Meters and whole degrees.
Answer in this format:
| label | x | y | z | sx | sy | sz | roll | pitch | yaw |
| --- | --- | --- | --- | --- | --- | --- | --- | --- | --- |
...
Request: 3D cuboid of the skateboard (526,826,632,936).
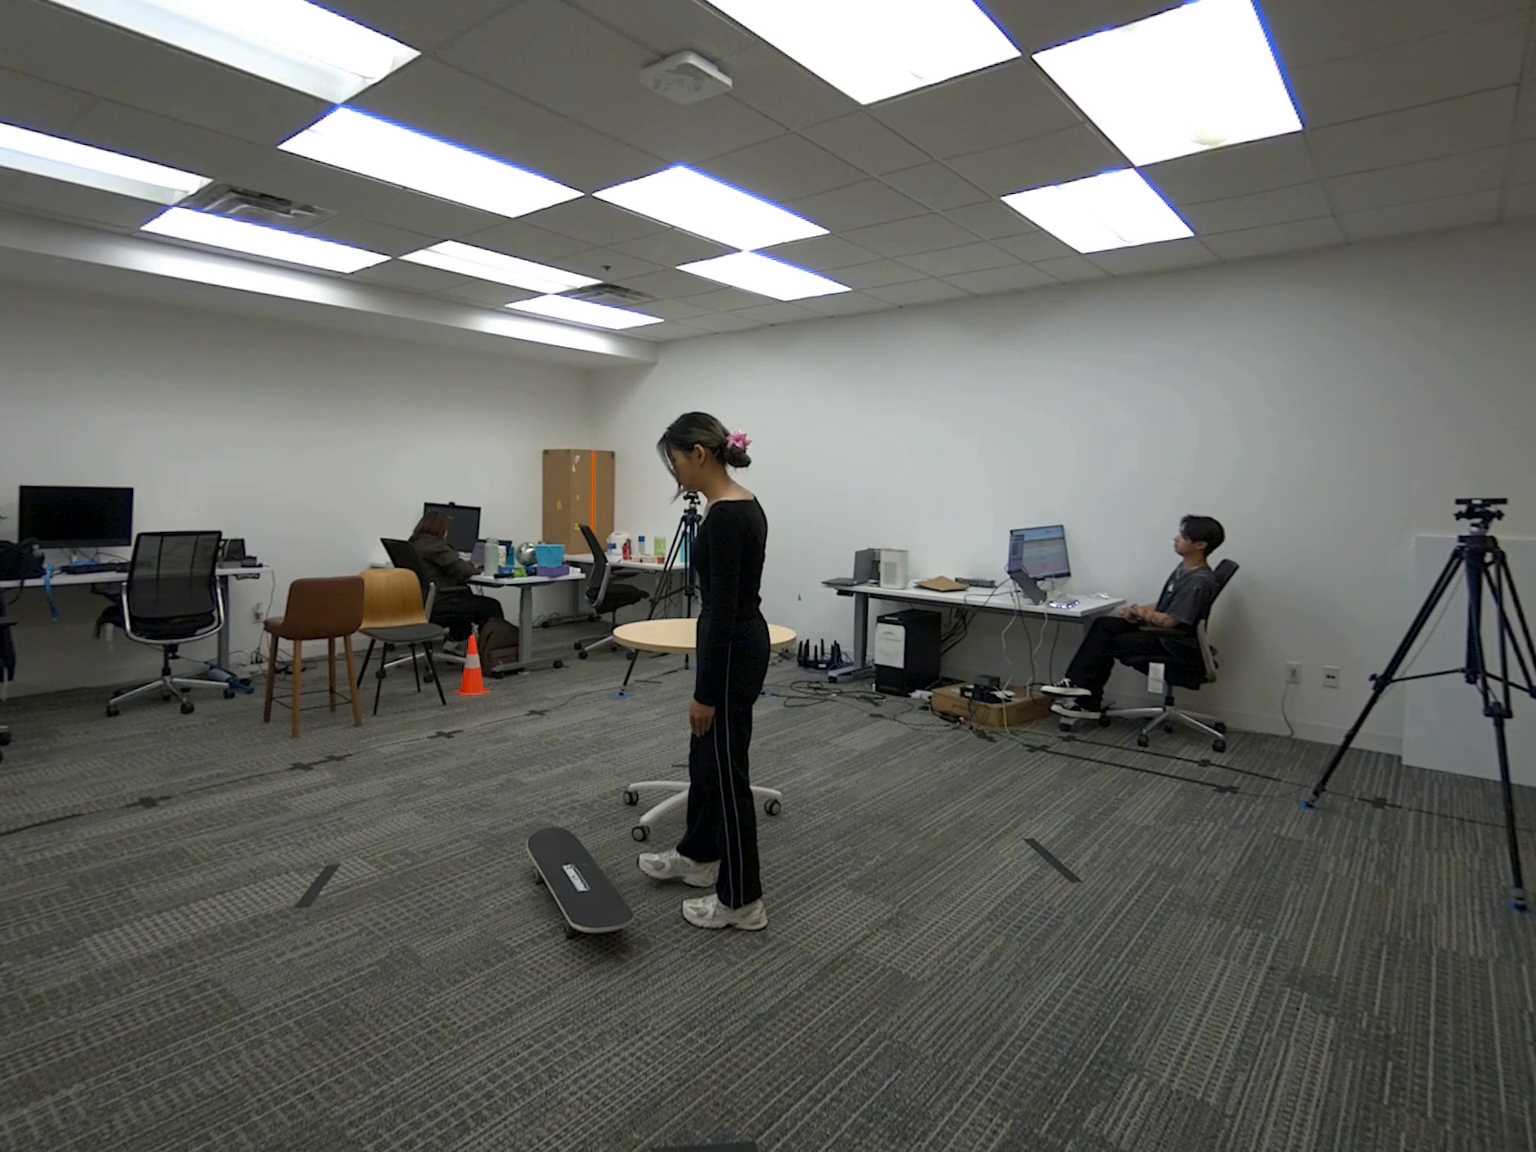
| label | x | y | z | sx | sy | sz | roll | pitch | yaw |
| --- | --- | --- | --- | --- | --- | --- | --- | --- | --- |
| skateboard | -0.650 | 1.030 | 2.828 | 0.189 | 0.110 | 0.808 | -2 | 6 | -27 |
